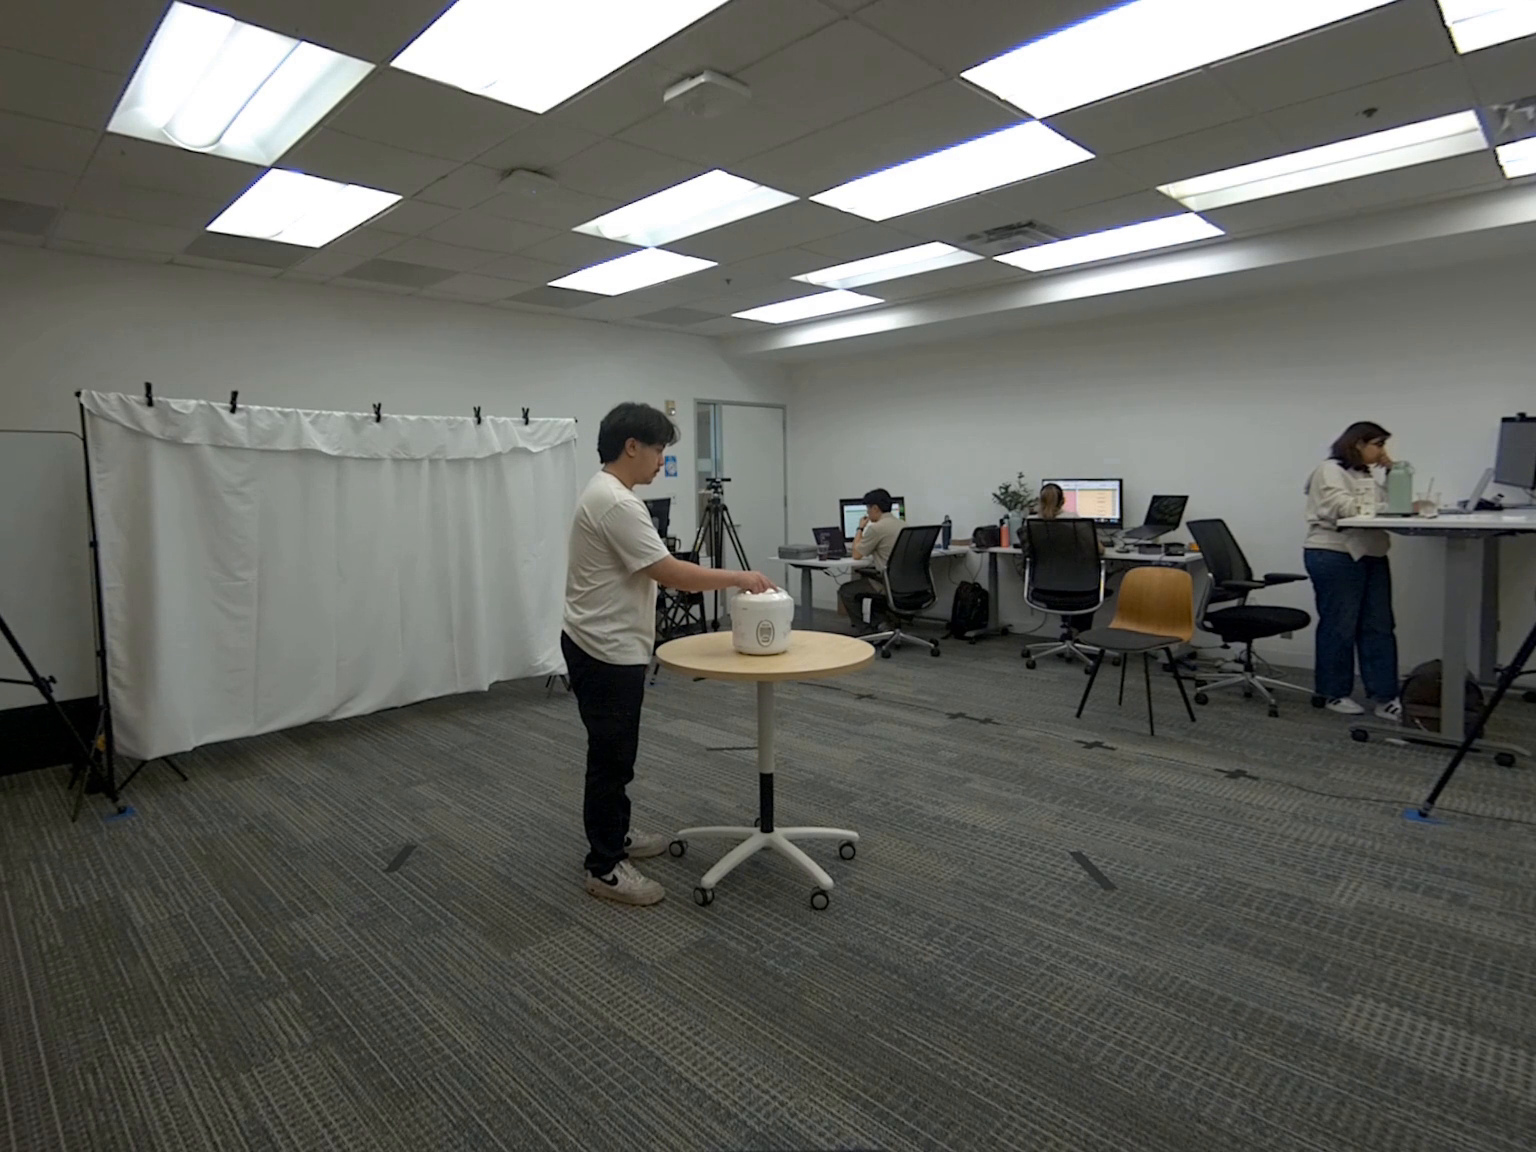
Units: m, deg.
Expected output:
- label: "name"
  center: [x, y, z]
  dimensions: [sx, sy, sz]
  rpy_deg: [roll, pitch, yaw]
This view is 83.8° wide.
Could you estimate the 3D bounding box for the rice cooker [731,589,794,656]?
- label: "rice cooker"
  center: [-0.018, 0.142, 2.959]
  dimensions: [0.219, 0.232, 0.219]
  rpy_deg: [-2, 4, -6]
